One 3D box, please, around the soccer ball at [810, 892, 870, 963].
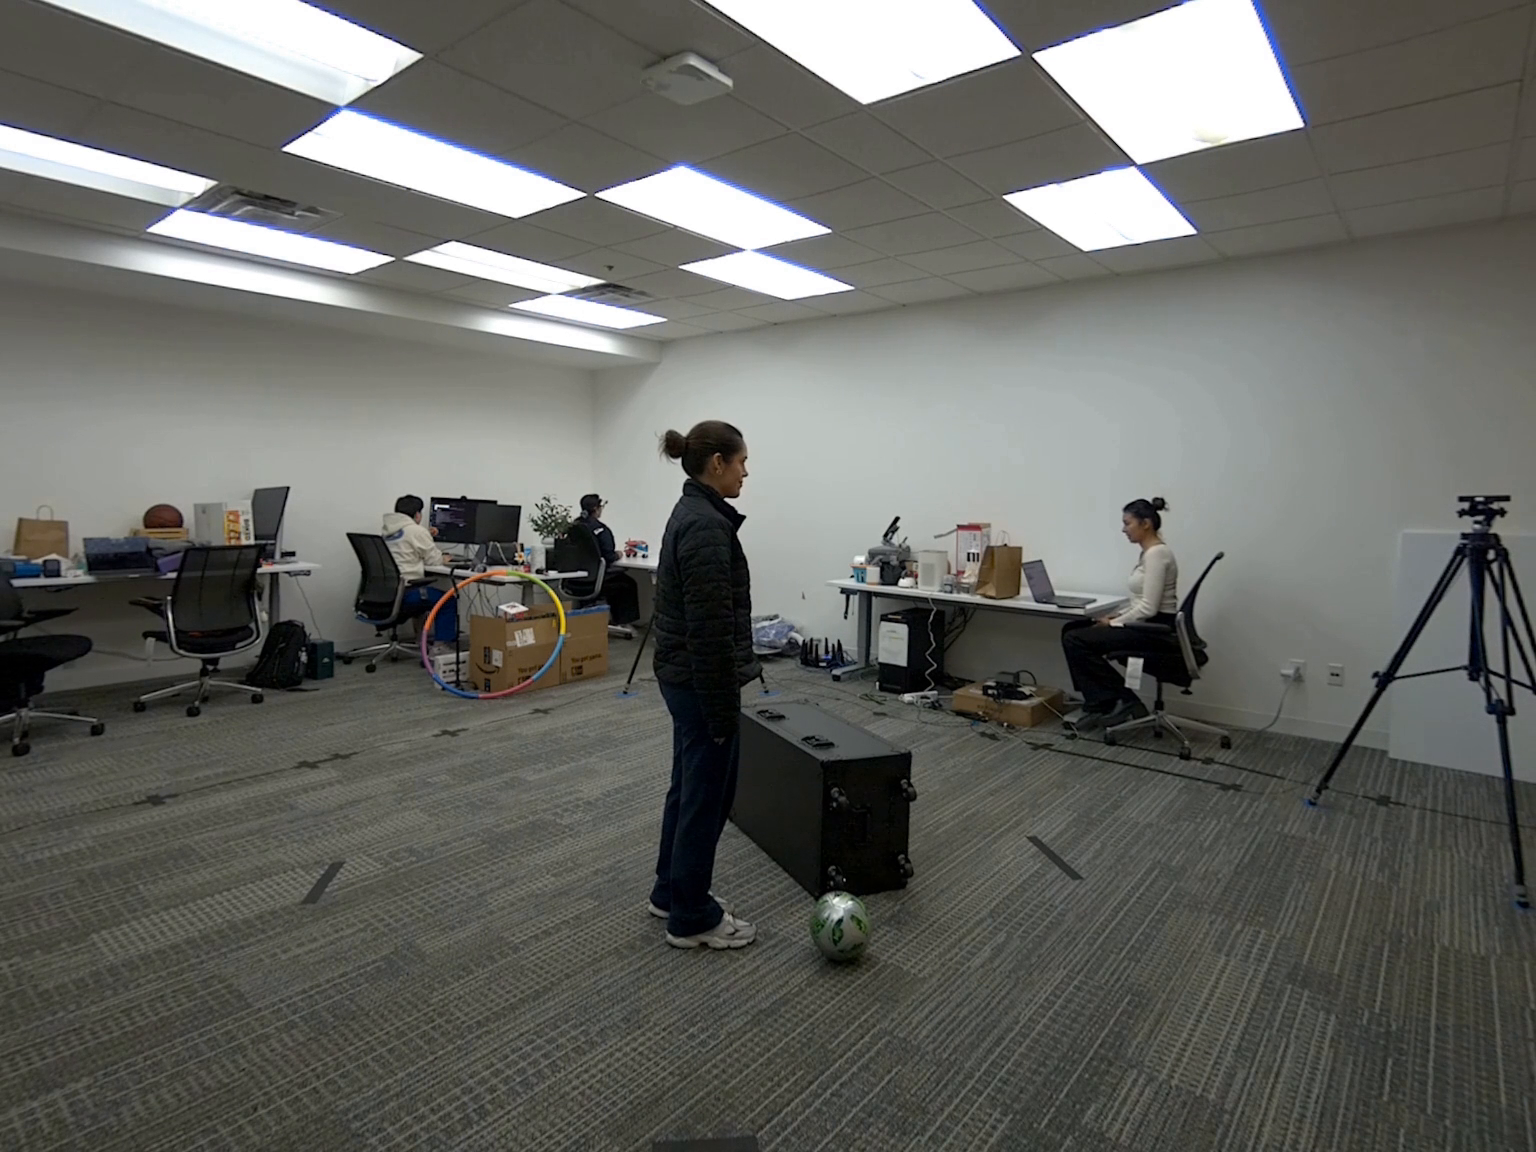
[{"bbox_3d":[0.210,1.045,2.530,0.187,0.187,0.188,1,4,-2],"label":"soccer ball"}]
